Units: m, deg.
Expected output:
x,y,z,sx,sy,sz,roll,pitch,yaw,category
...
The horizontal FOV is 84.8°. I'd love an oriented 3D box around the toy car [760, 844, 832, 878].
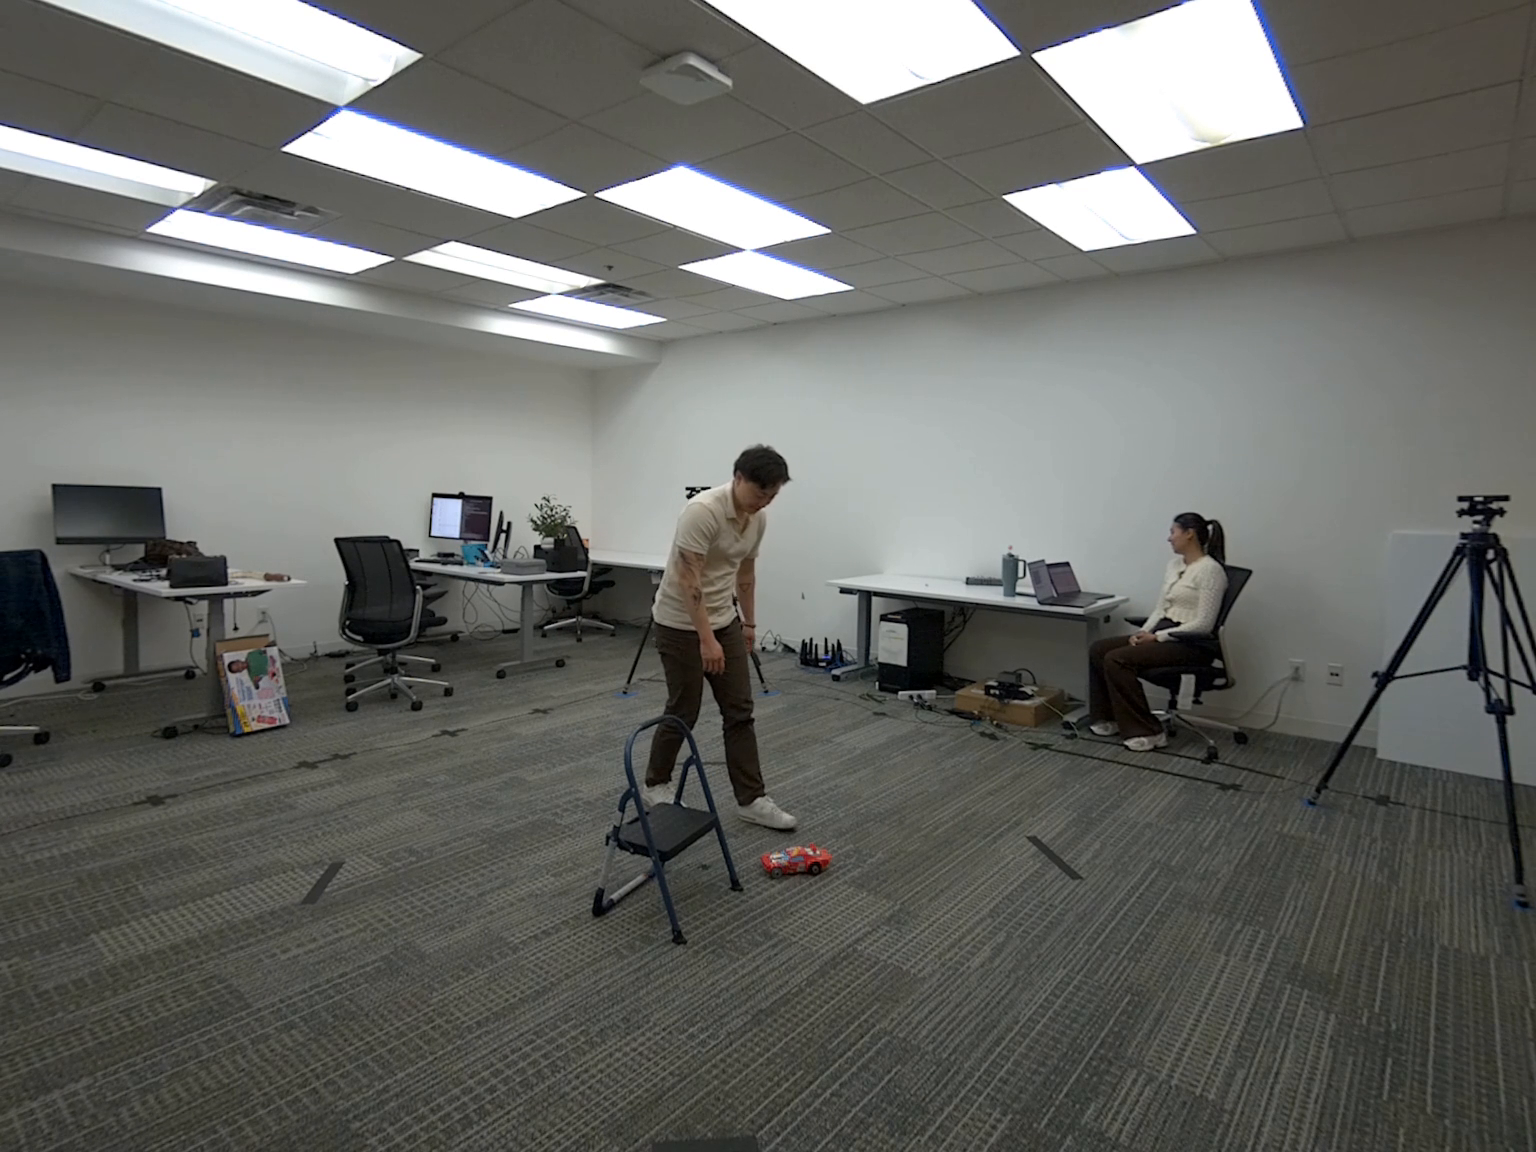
x,y,z,sx,sy,sz,roll,pitch,yaw,category
0.106,1.050,3.111,0.251,0.082,0.133,-10,9,-16,toy car
